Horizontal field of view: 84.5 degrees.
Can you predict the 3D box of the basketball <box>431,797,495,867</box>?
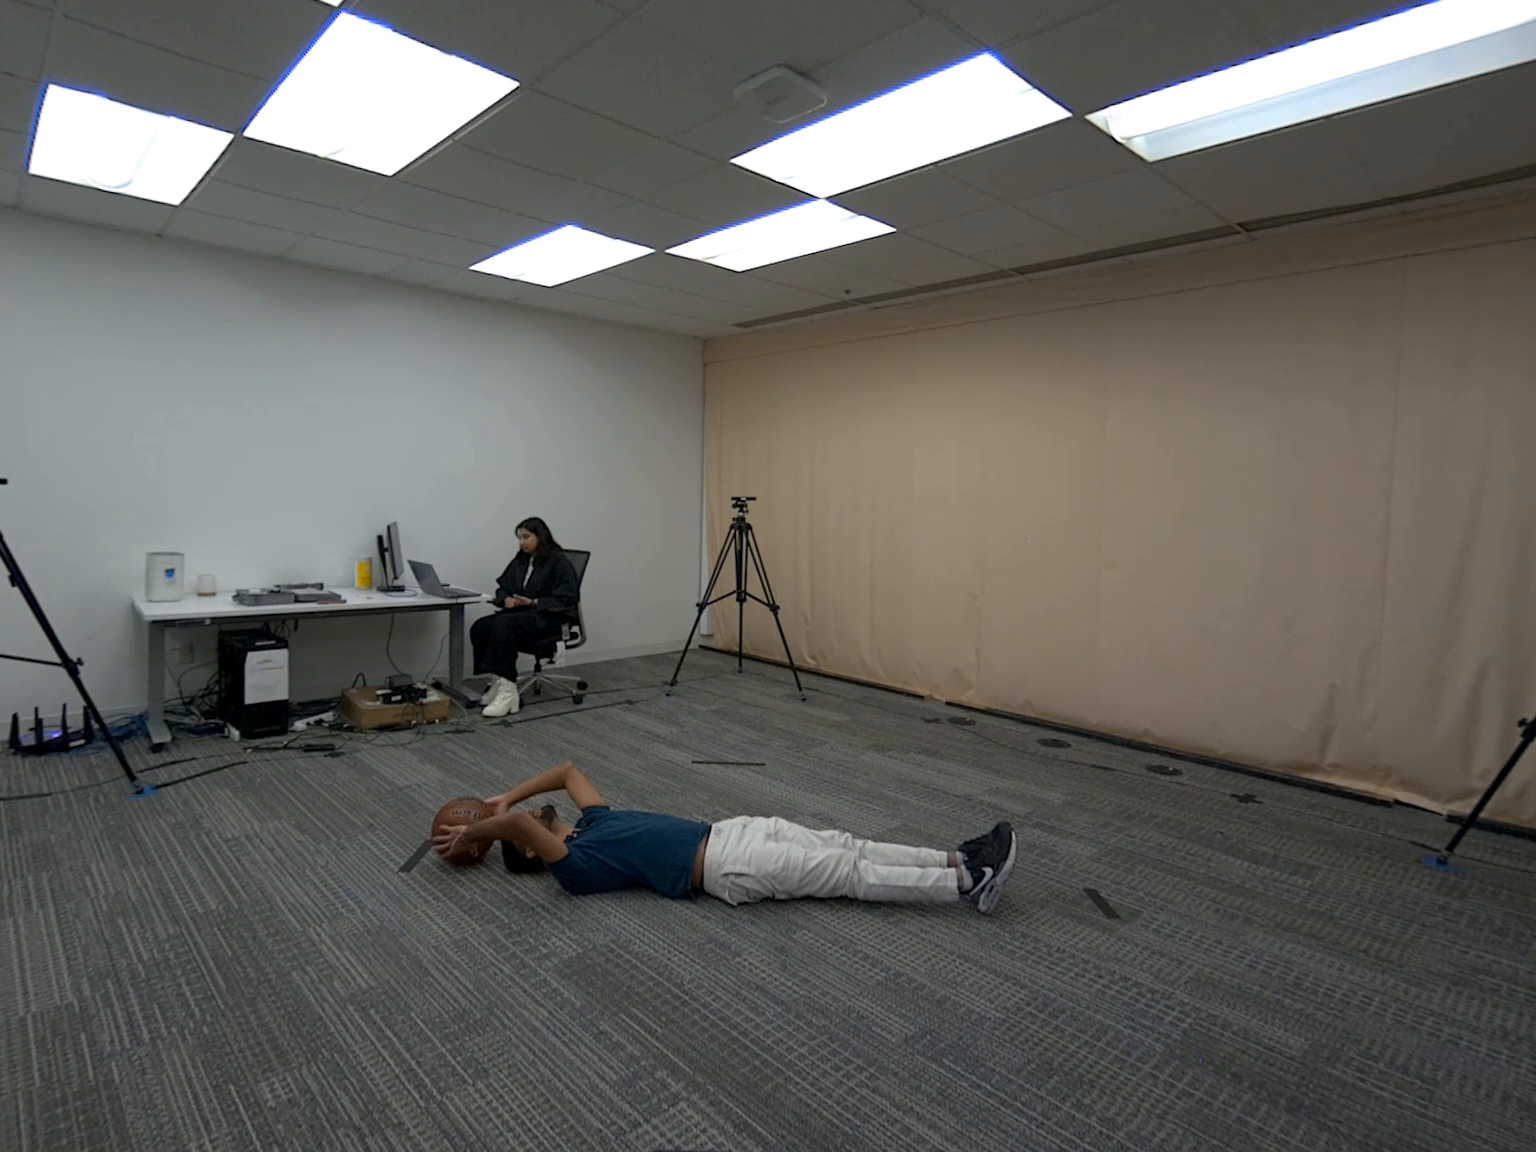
[{"bbox_3d":[-1.156,0.959,3.172,0.236,0.235,0.237,1,4,-1],"label":"basketball"}]
